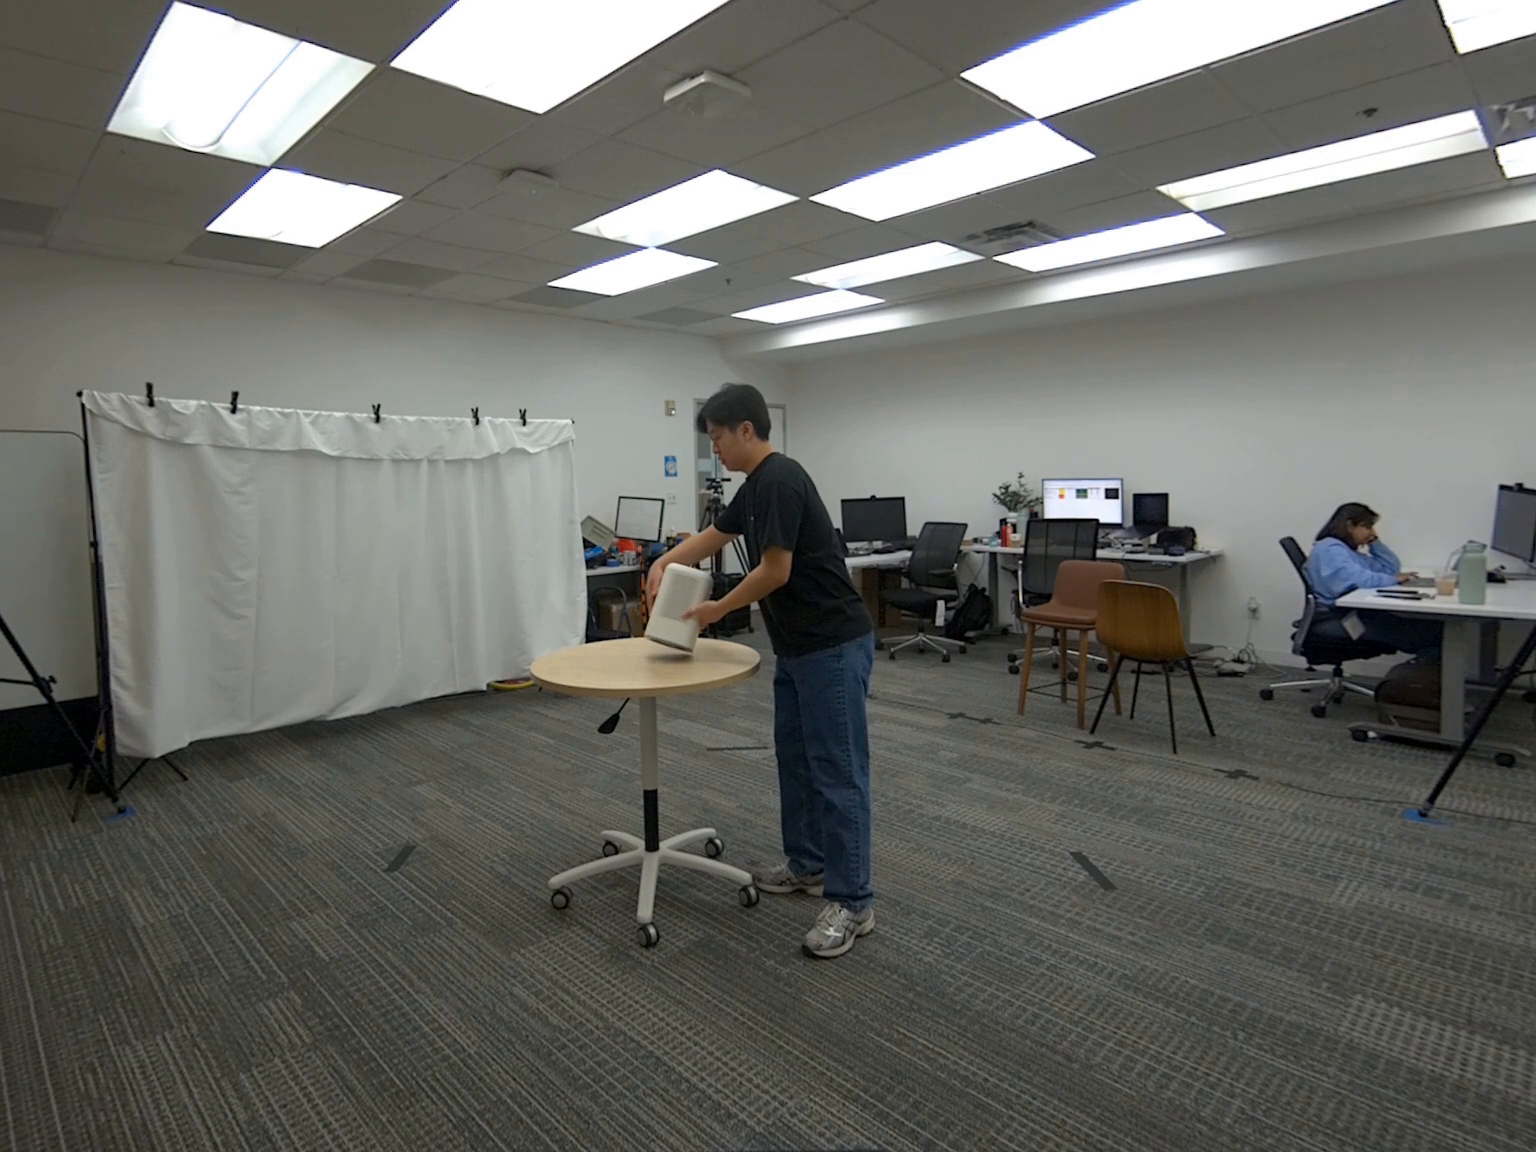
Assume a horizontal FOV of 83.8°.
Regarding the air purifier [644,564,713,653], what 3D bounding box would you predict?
[{"bbox_3d":[-0.289,0.104,2.899,0.173,0.267,0.168,15,-11,5],"label":"air purifier"}]
